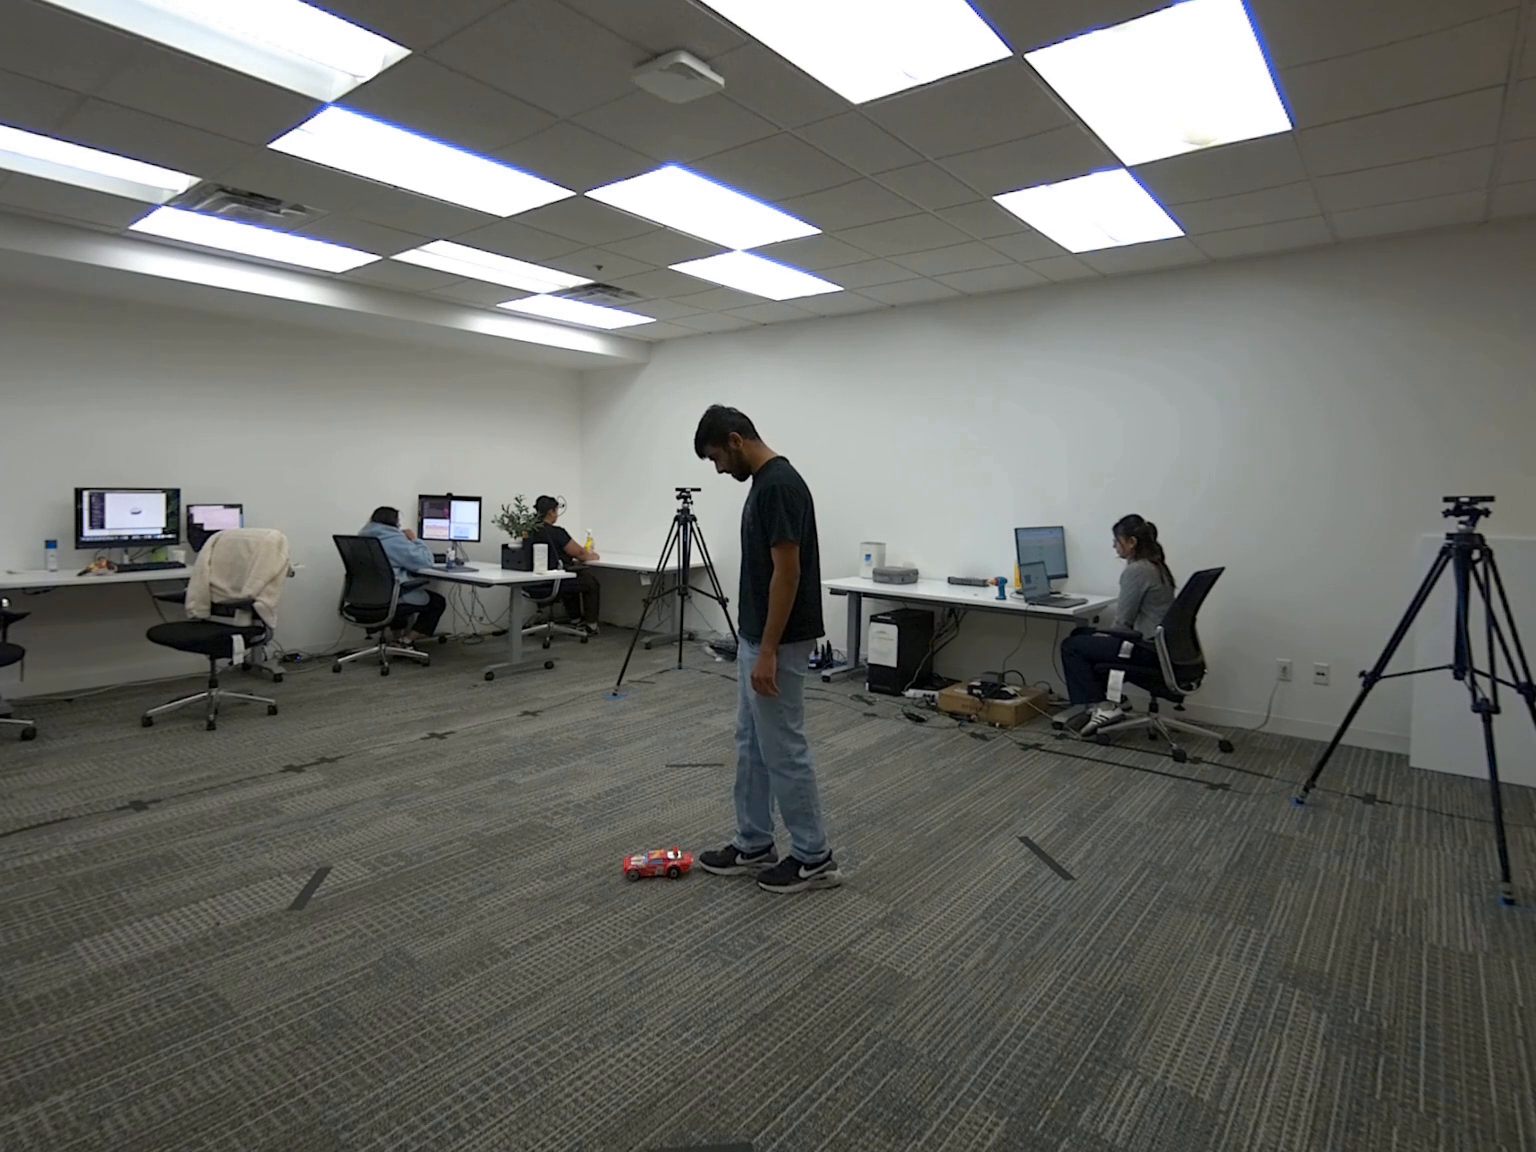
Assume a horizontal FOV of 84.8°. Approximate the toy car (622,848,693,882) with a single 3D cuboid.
[{"bbox_3d":[-0.399,1.040,3.072,0.253,0.083,0.132,-12,6,-6],"label":"toy car"}]
